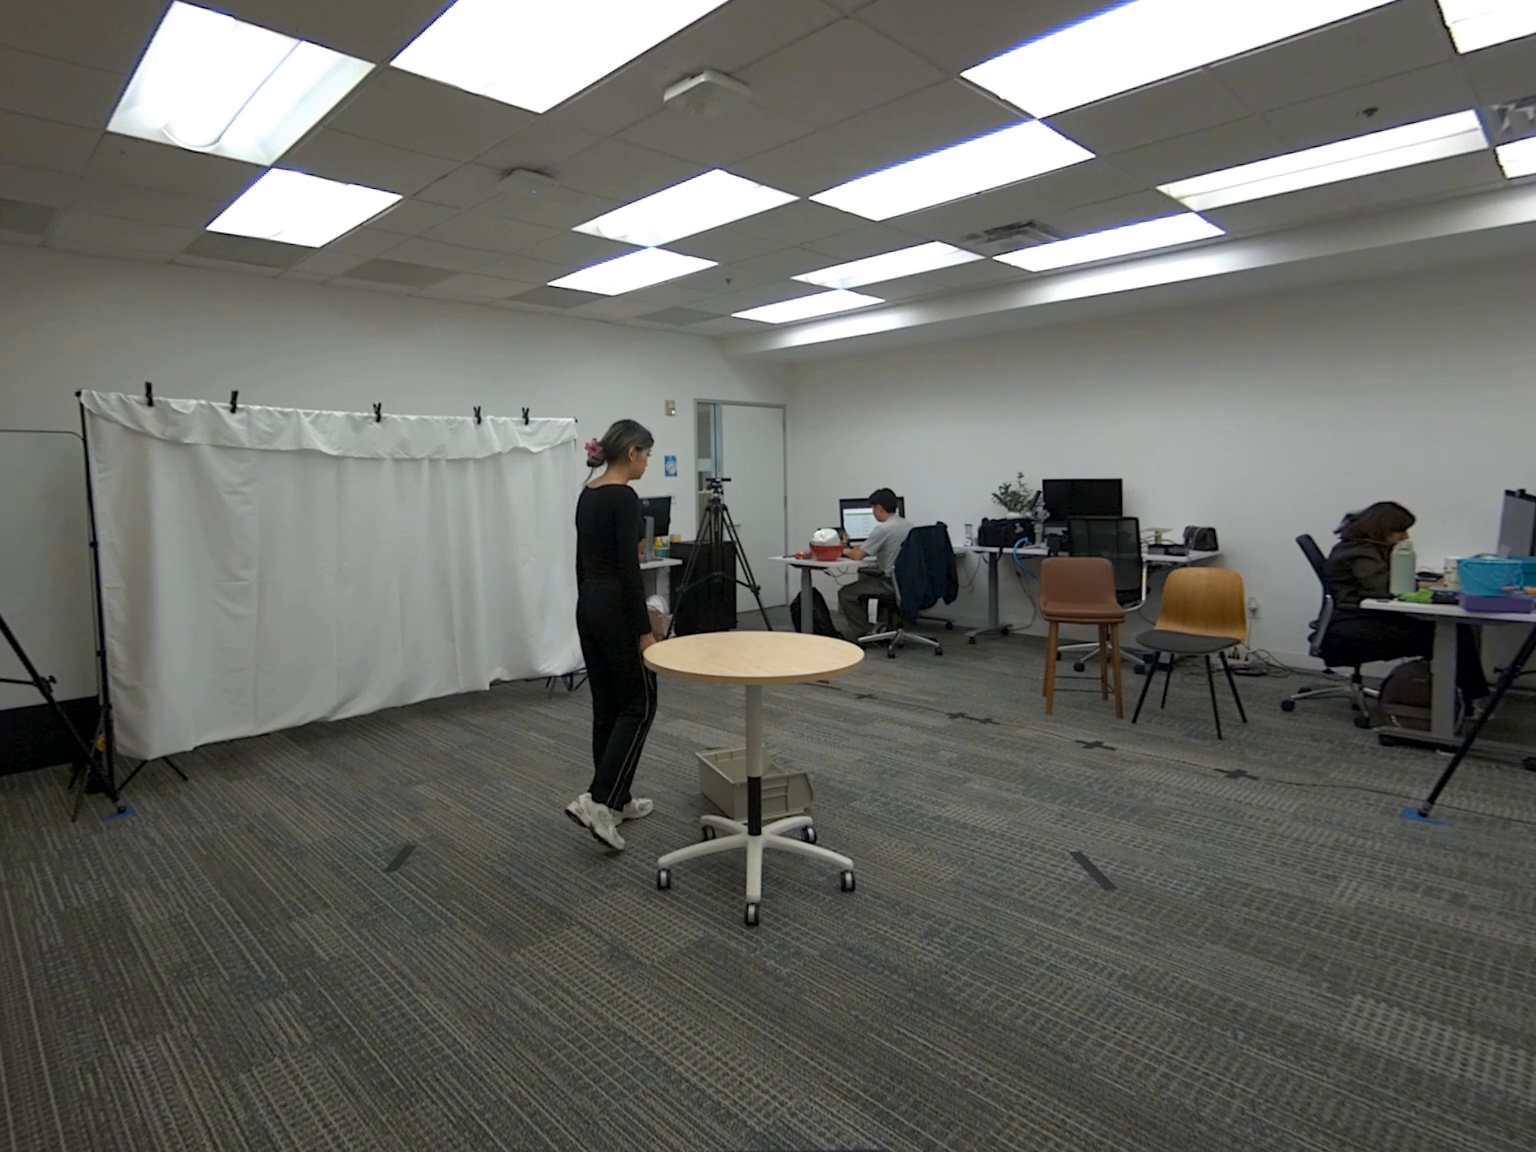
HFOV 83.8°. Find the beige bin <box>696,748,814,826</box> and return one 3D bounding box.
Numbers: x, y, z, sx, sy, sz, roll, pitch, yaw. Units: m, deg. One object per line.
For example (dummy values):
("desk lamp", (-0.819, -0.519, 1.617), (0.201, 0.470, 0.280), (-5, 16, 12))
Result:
("beige bin", (-0.064, 0.885, 3.695), (0.370, 0.188, 0.433), (-5, 8, -24))
